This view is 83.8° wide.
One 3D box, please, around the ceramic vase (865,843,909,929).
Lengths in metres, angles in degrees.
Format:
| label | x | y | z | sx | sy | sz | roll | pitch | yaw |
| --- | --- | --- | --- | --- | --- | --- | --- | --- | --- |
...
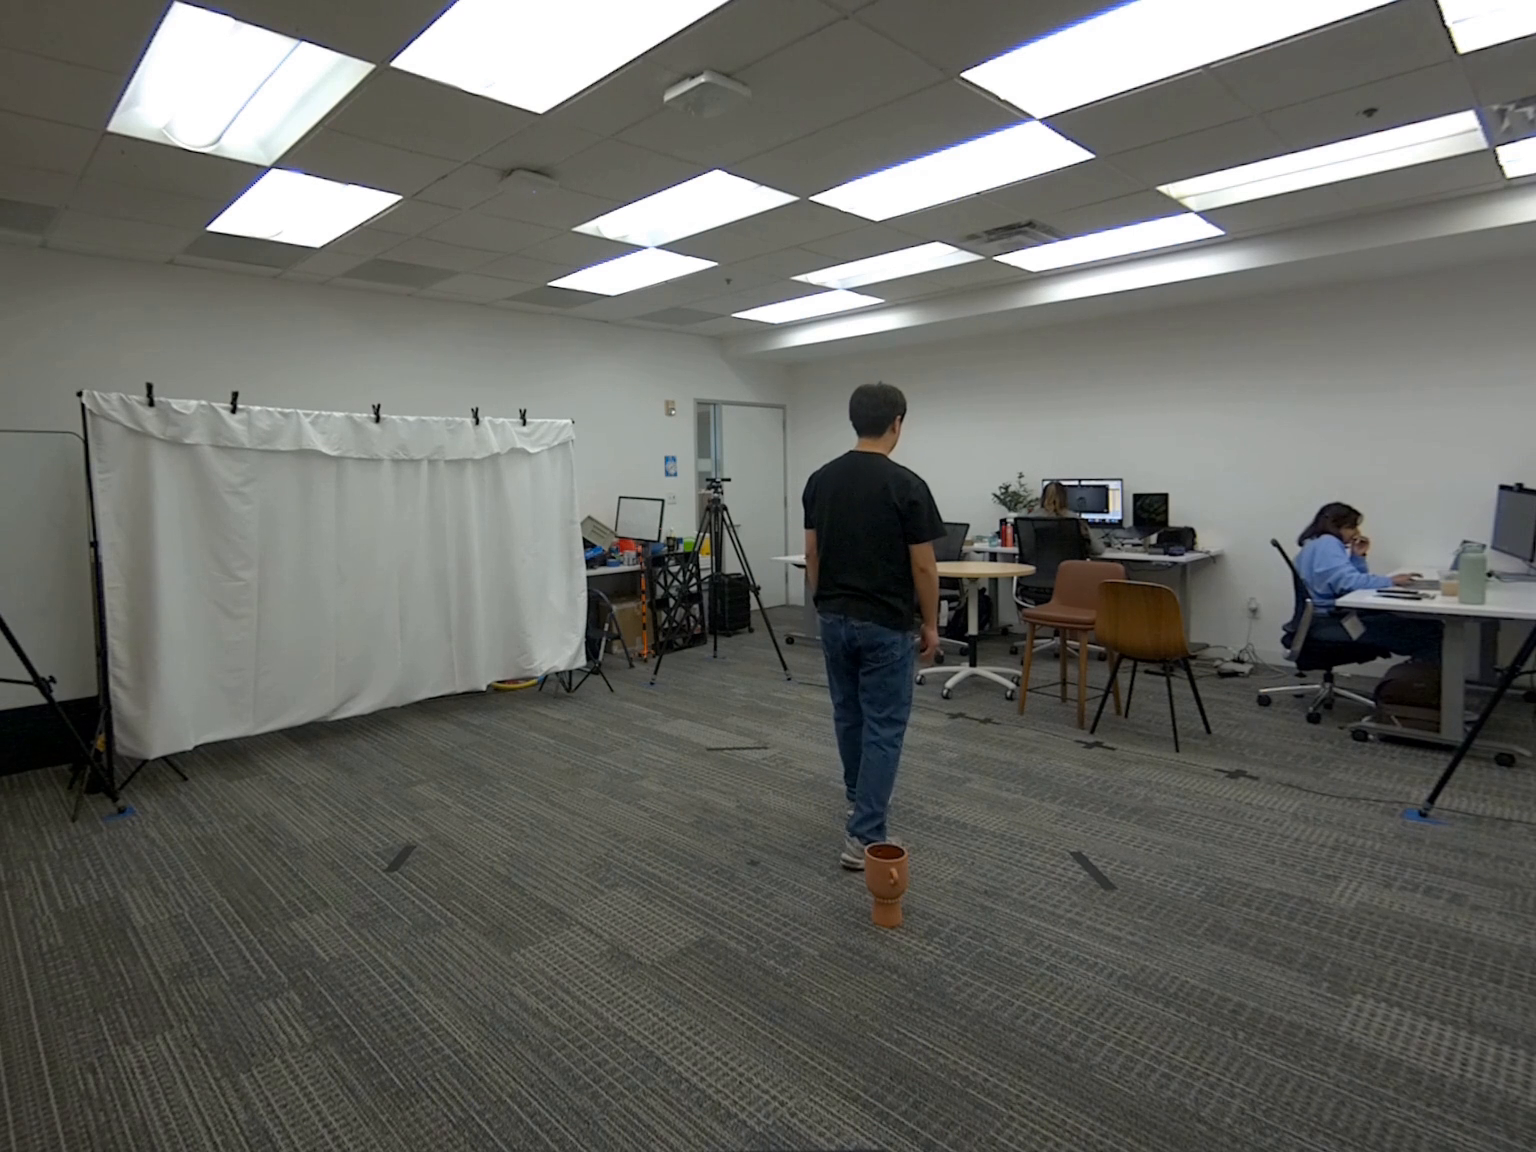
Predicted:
| label | x | y | z | sx | sy | sz | roll | pitch | yaw |
| --- | --- | --- | --- | --- | --- | --- | --- | --- | --- |
| ceramic vase | 0.380 | 0.971 | 2.680 | 0.138 | 0.219 | 0.155 | -1 | 3 | 29 |
